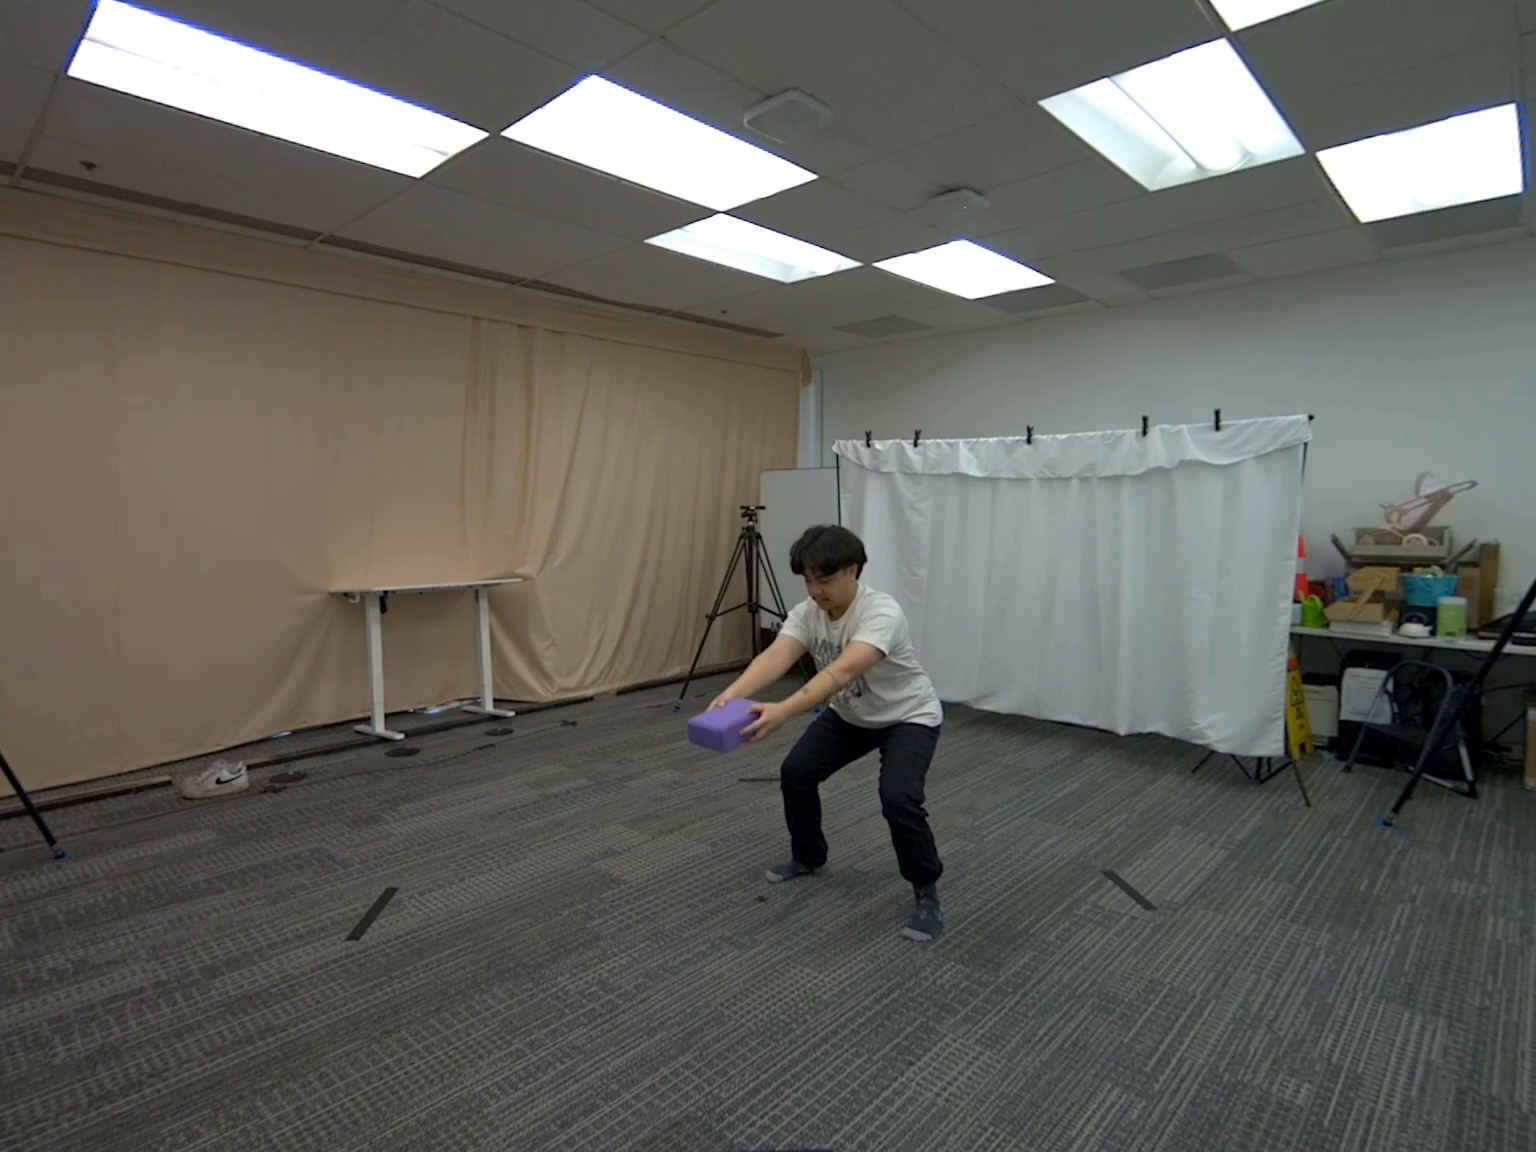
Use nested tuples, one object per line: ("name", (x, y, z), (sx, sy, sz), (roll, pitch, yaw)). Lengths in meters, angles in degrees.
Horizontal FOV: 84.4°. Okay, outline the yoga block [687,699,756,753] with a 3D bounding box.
("yoga block", (-0.123, 0.424, 2.532), (0.154, 0.076, 0.223), (3, 13, 39))
